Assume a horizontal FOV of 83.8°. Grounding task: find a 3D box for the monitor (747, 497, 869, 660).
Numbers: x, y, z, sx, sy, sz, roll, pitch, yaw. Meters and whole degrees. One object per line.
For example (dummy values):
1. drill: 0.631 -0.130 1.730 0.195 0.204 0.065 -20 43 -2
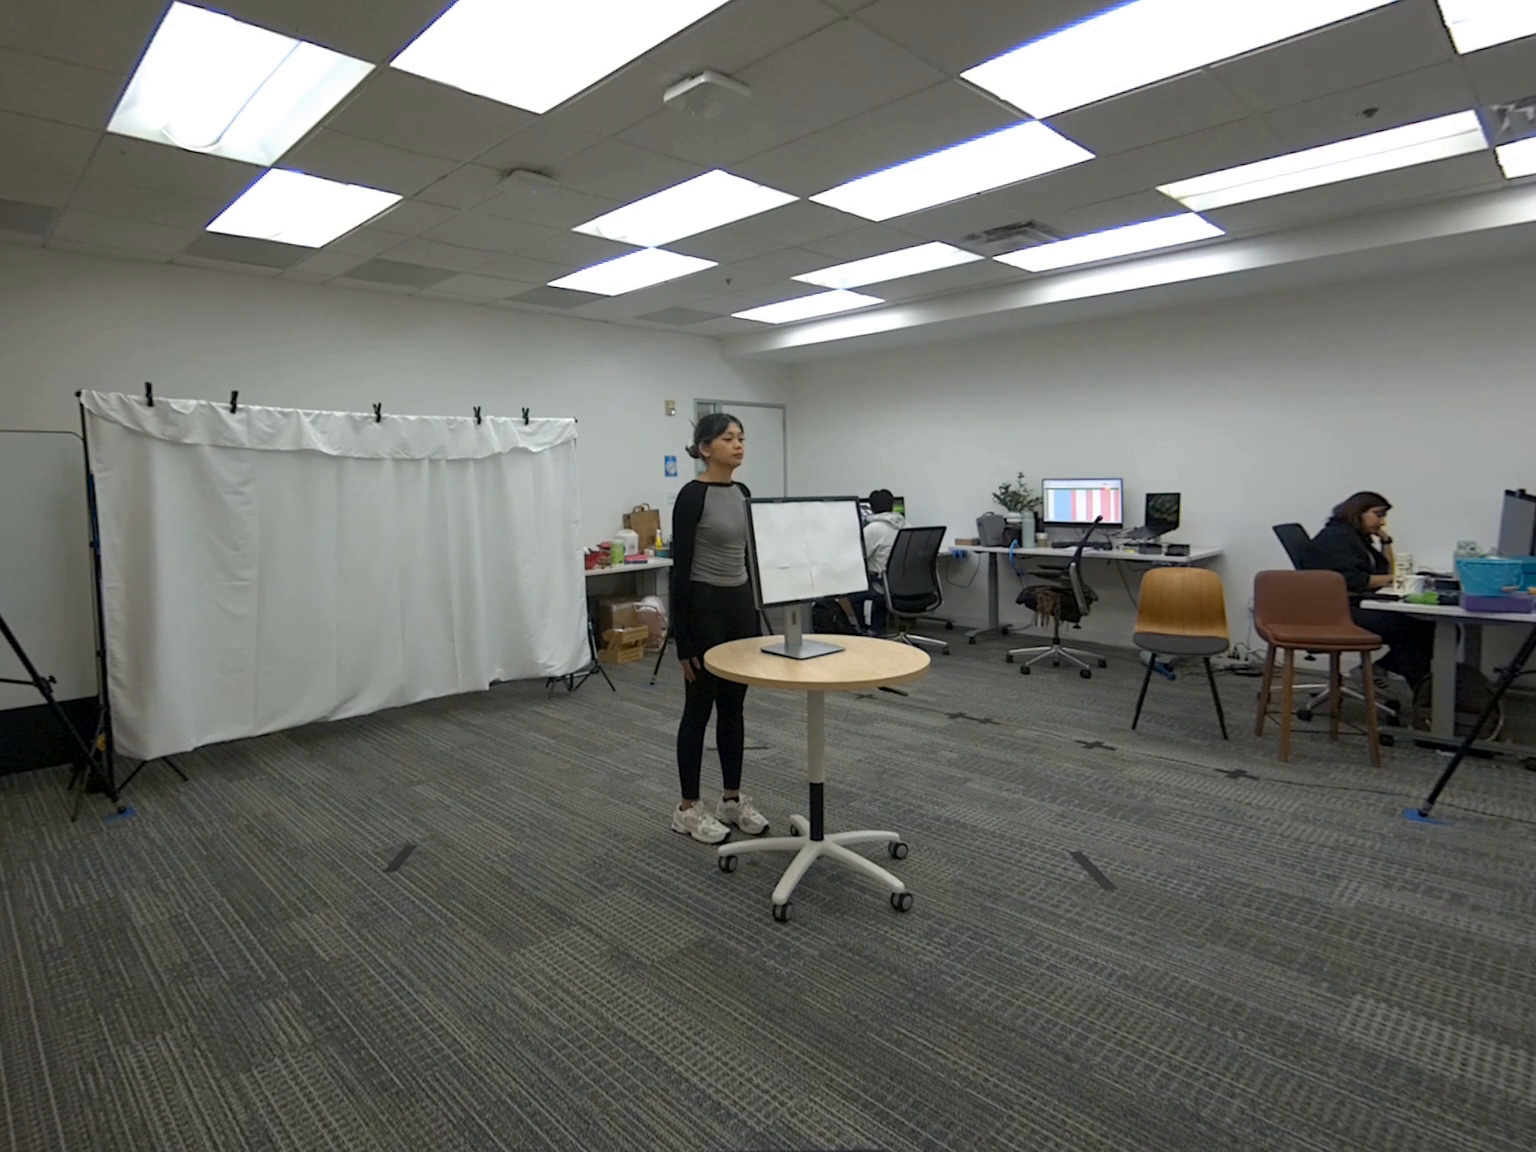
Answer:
1. monitor: 0.123 -0.001 2.983 0.525 0.520 0.193 -5 8 -44
